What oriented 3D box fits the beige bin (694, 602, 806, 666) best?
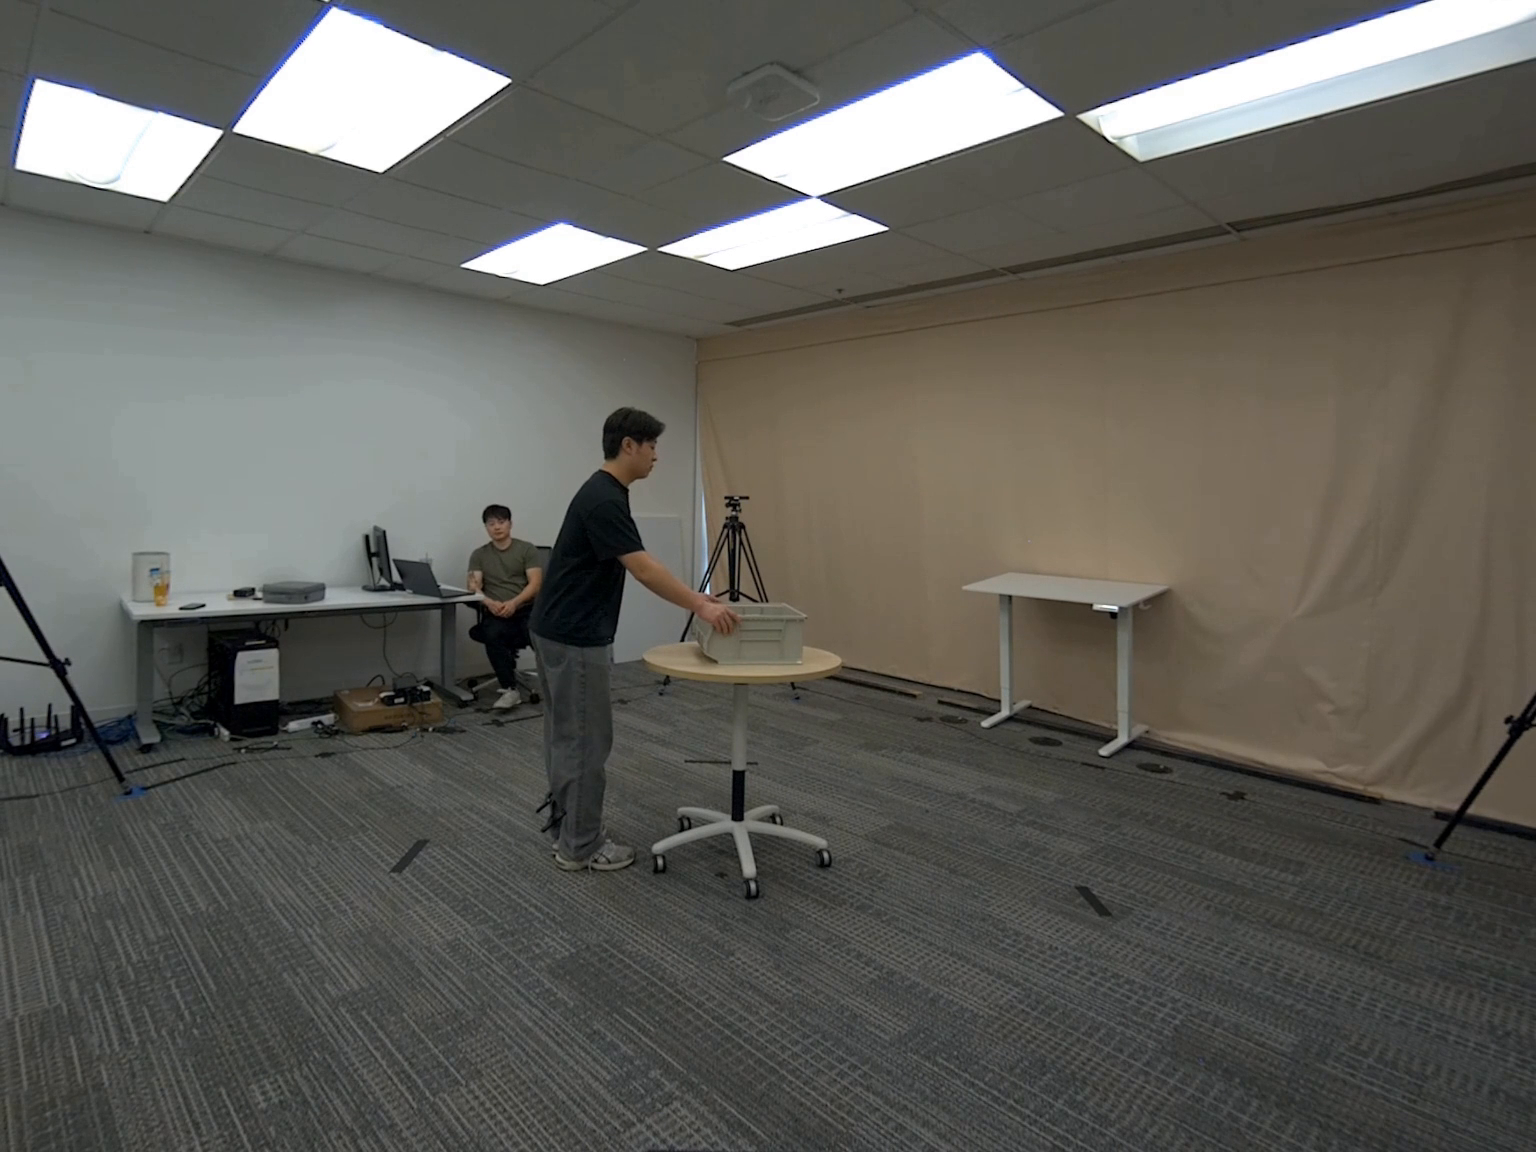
[{"bbox_3d":[-0.086,0.217,3.280,0.374,0.188,0.426,2,4,-10],"label":"beige bin"}]
